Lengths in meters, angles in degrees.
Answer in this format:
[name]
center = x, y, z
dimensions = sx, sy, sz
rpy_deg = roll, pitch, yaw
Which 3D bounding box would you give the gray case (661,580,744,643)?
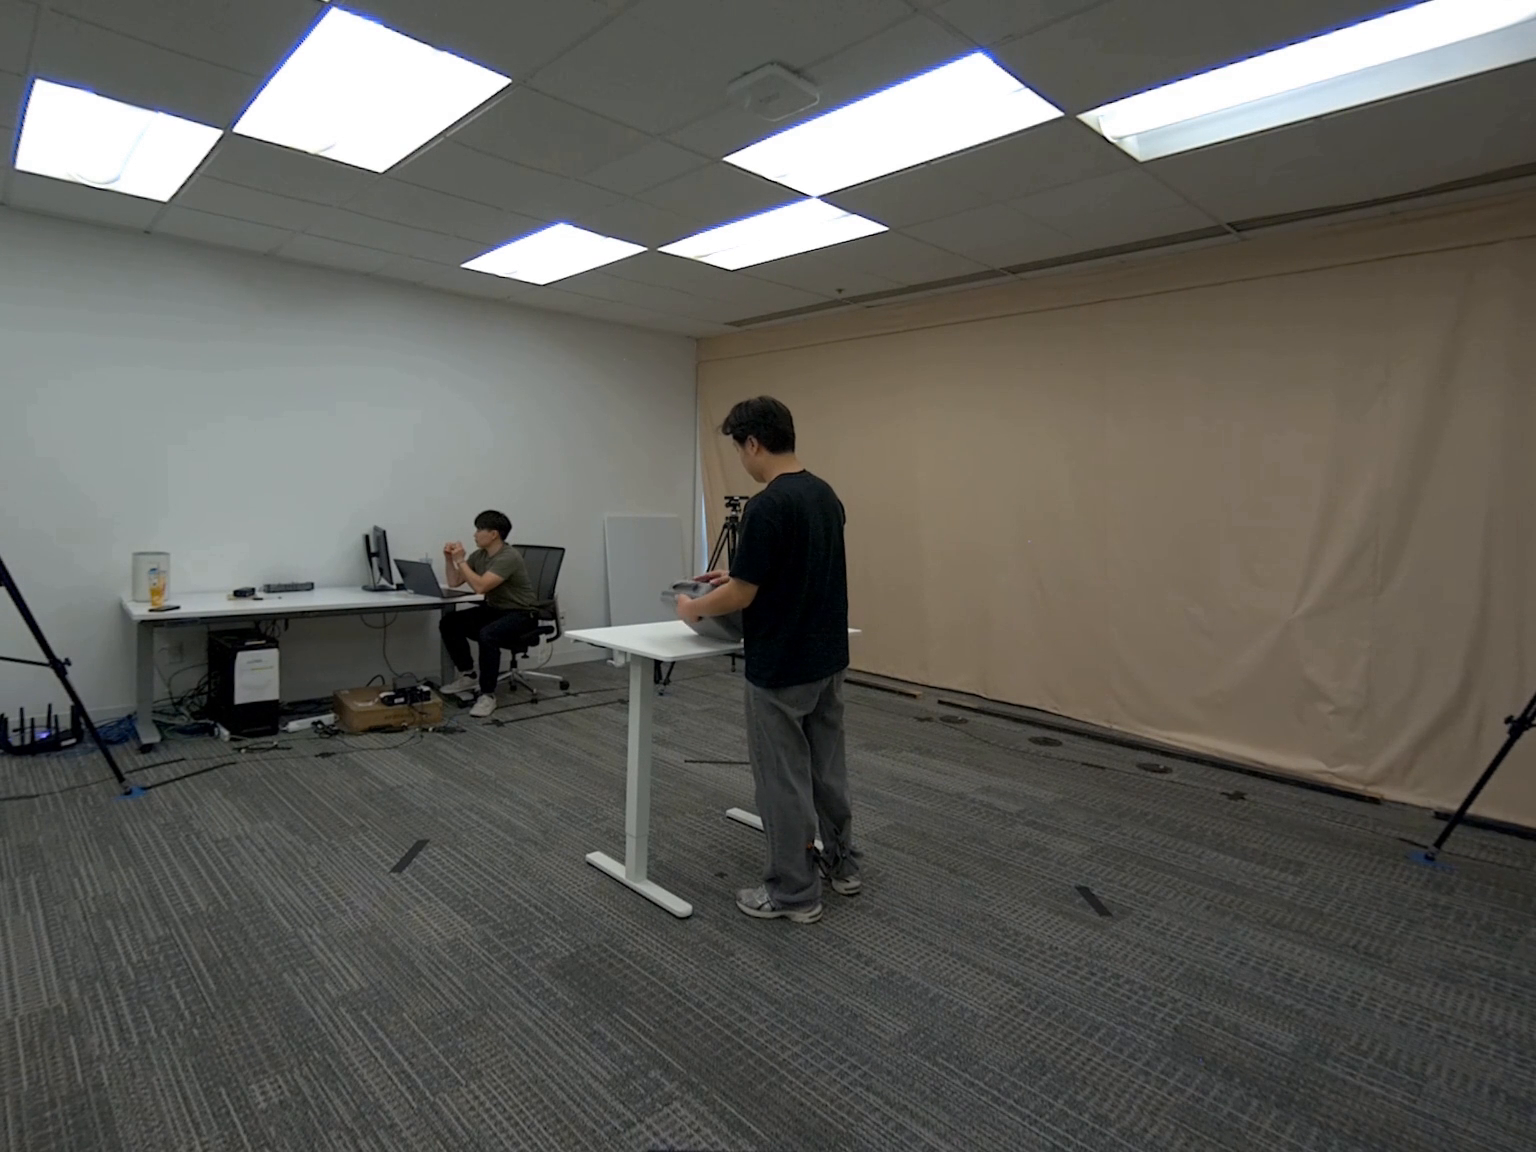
[gray case]
center = -0.232, 0.121, 2.993
dimensions = 0.264, 0.105, 0.253
rpy_deg = 10, -28, 50
